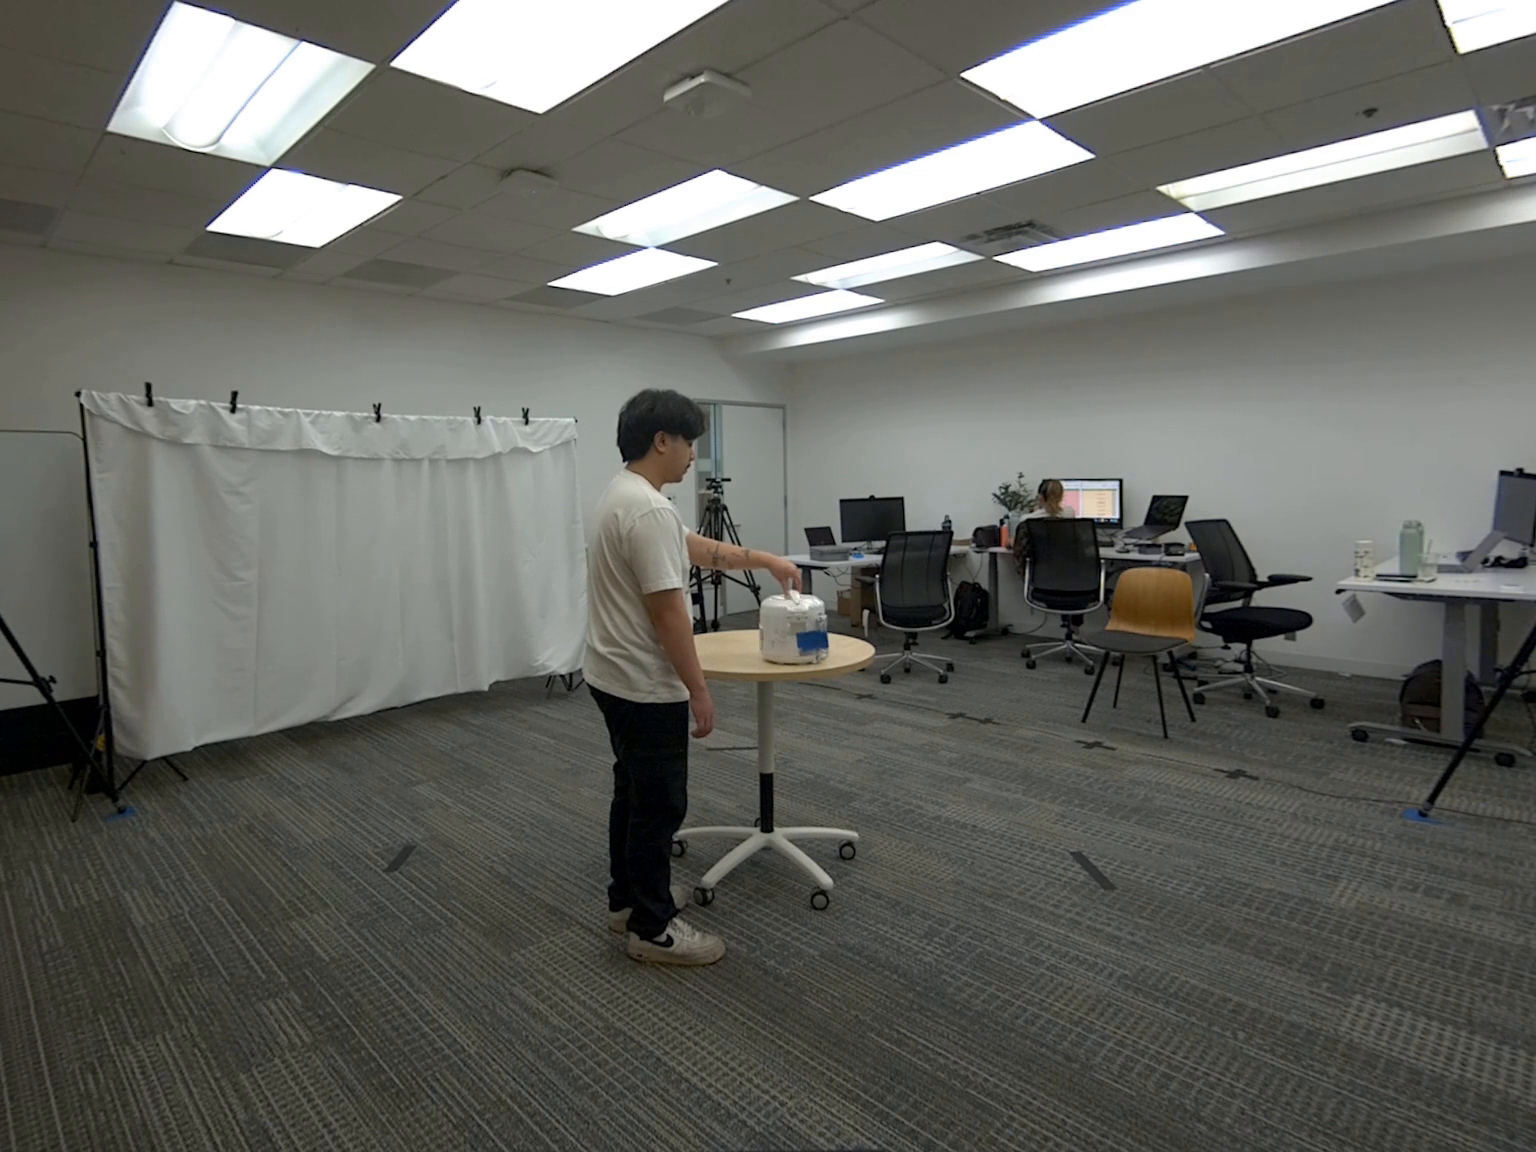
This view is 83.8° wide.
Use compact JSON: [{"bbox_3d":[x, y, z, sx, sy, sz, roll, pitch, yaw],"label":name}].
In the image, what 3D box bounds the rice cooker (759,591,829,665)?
[{"bbox_3d":[0.082,0.160,2.804,0.216,0.232,0.222,-1,4,-6],"label":"rice cooker"}]
